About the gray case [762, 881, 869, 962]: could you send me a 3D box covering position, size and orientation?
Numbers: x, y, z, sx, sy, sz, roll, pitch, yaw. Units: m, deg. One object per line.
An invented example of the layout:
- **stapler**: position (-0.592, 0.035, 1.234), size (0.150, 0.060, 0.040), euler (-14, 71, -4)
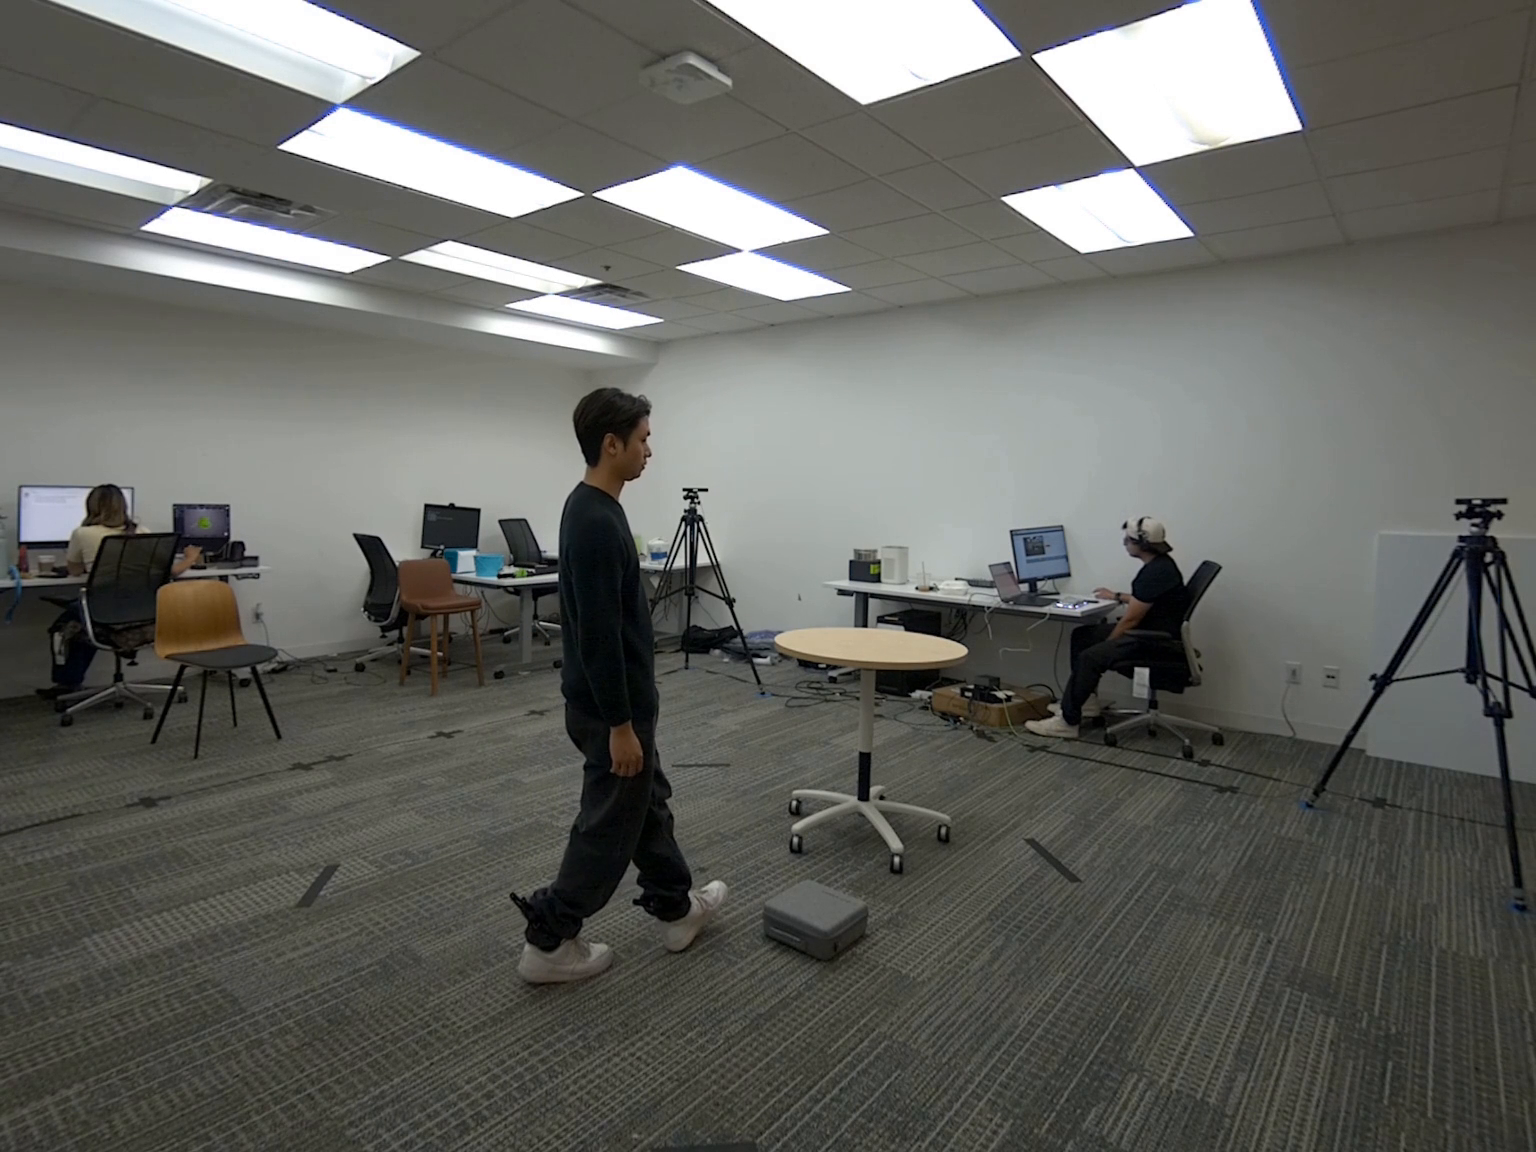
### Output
- **gray case**: position (0.144, 1.065, 2.657), size (0.266, 0.104, 0.253), euler (7, 8, 39)
